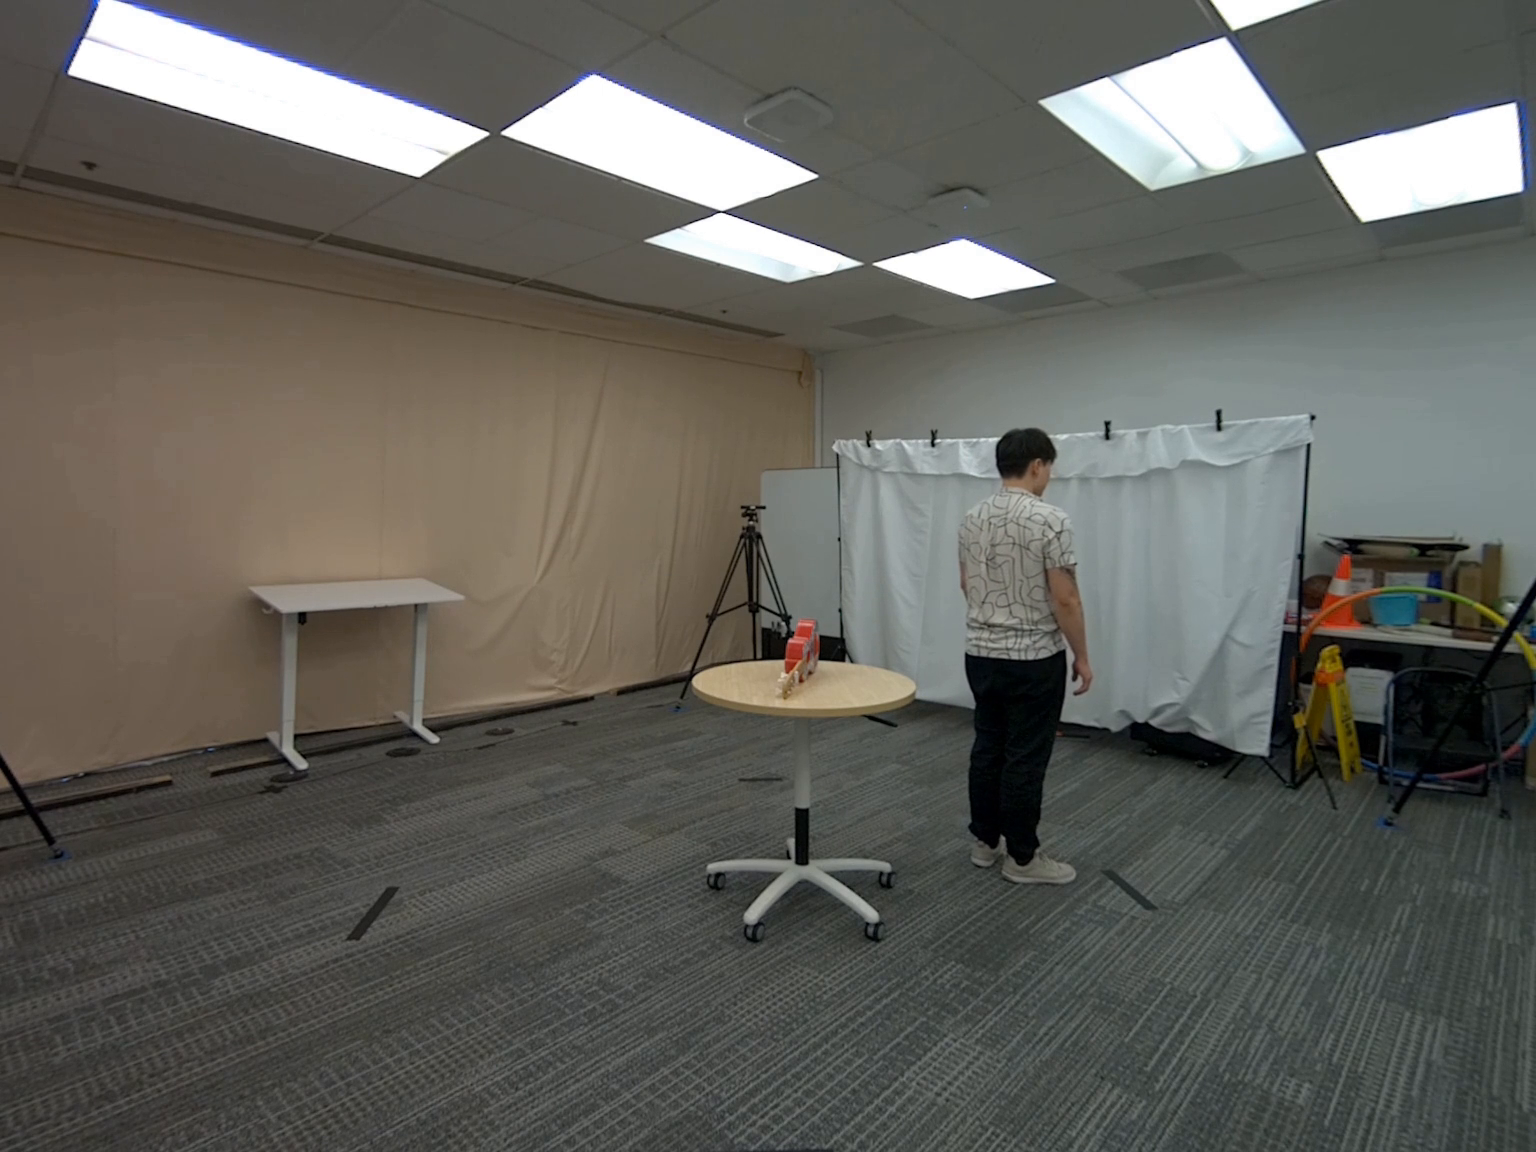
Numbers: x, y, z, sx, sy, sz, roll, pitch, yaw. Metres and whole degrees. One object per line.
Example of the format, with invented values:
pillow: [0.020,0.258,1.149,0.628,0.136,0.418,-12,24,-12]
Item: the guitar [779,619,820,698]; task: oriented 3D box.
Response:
guitar: [0.098,0.276,2.872,0.072,0.192,0.492,3,6,12]
